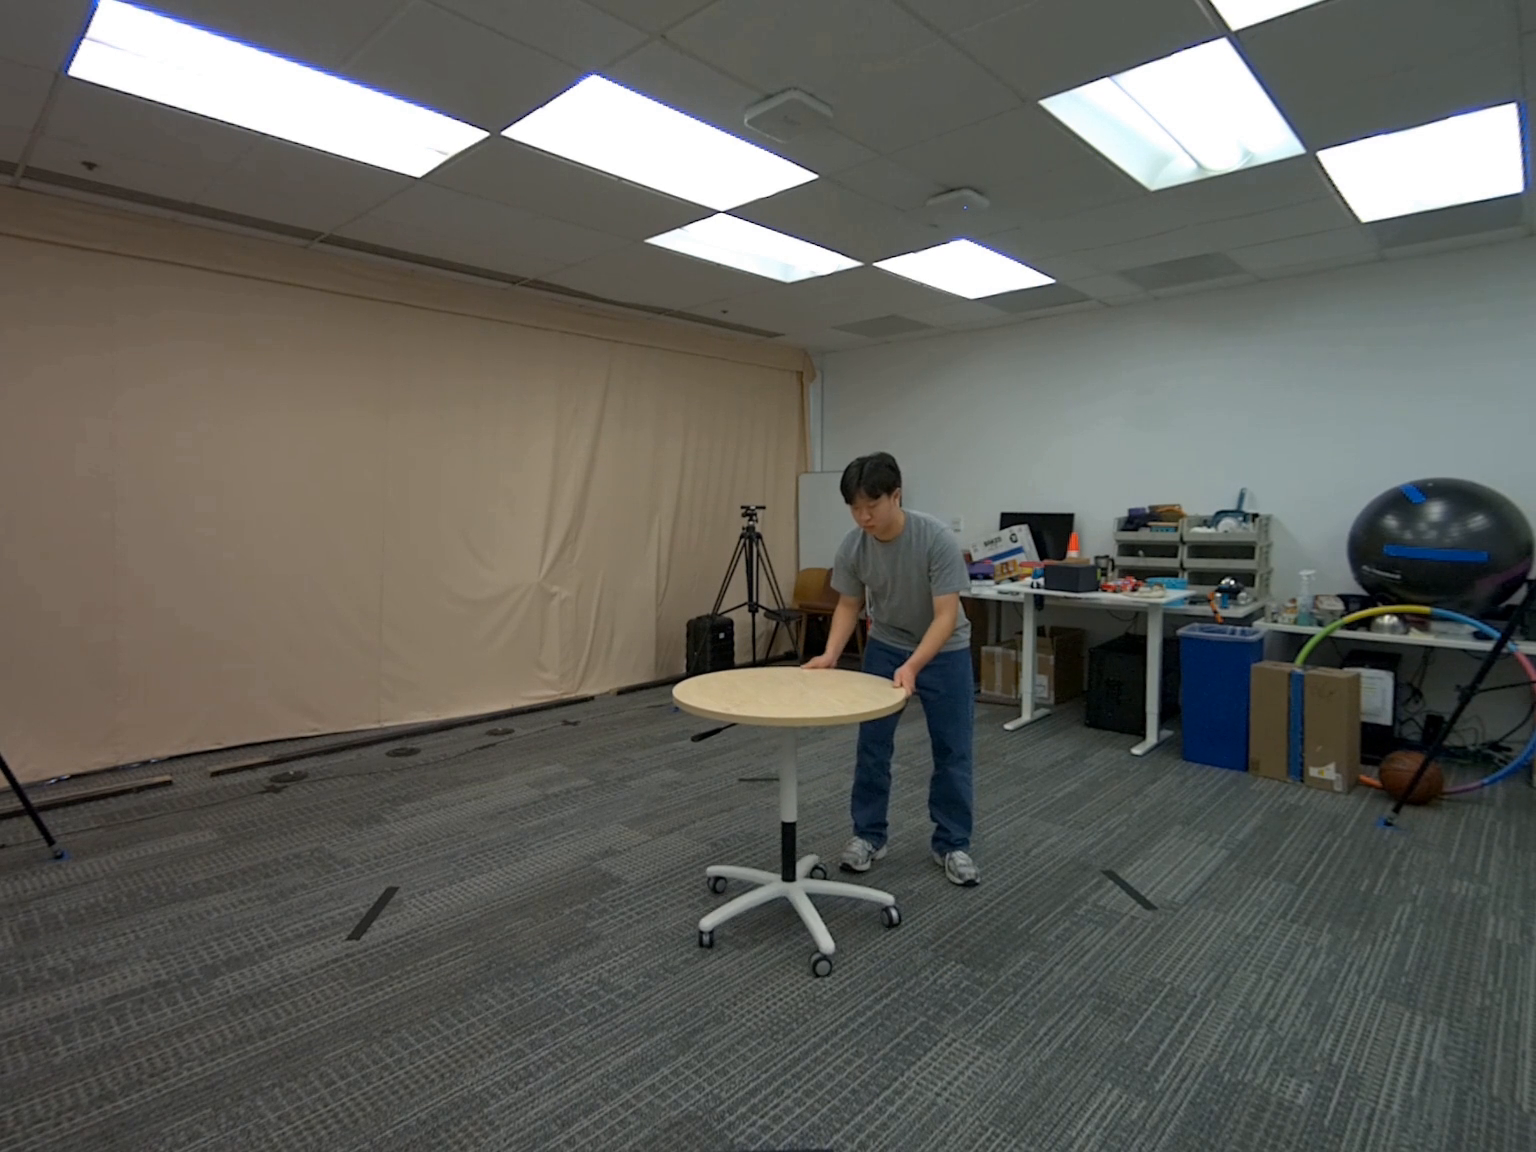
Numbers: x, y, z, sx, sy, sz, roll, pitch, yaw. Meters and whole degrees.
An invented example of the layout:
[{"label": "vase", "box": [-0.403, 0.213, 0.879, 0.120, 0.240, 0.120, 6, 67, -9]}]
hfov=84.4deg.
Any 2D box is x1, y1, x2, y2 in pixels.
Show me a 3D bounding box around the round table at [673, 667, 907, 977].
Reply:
[{"label": "round table", "box": [0.068, 0.768, 2.810, 0.763, 0.792, 0.766, 0, 4, -2]}]
